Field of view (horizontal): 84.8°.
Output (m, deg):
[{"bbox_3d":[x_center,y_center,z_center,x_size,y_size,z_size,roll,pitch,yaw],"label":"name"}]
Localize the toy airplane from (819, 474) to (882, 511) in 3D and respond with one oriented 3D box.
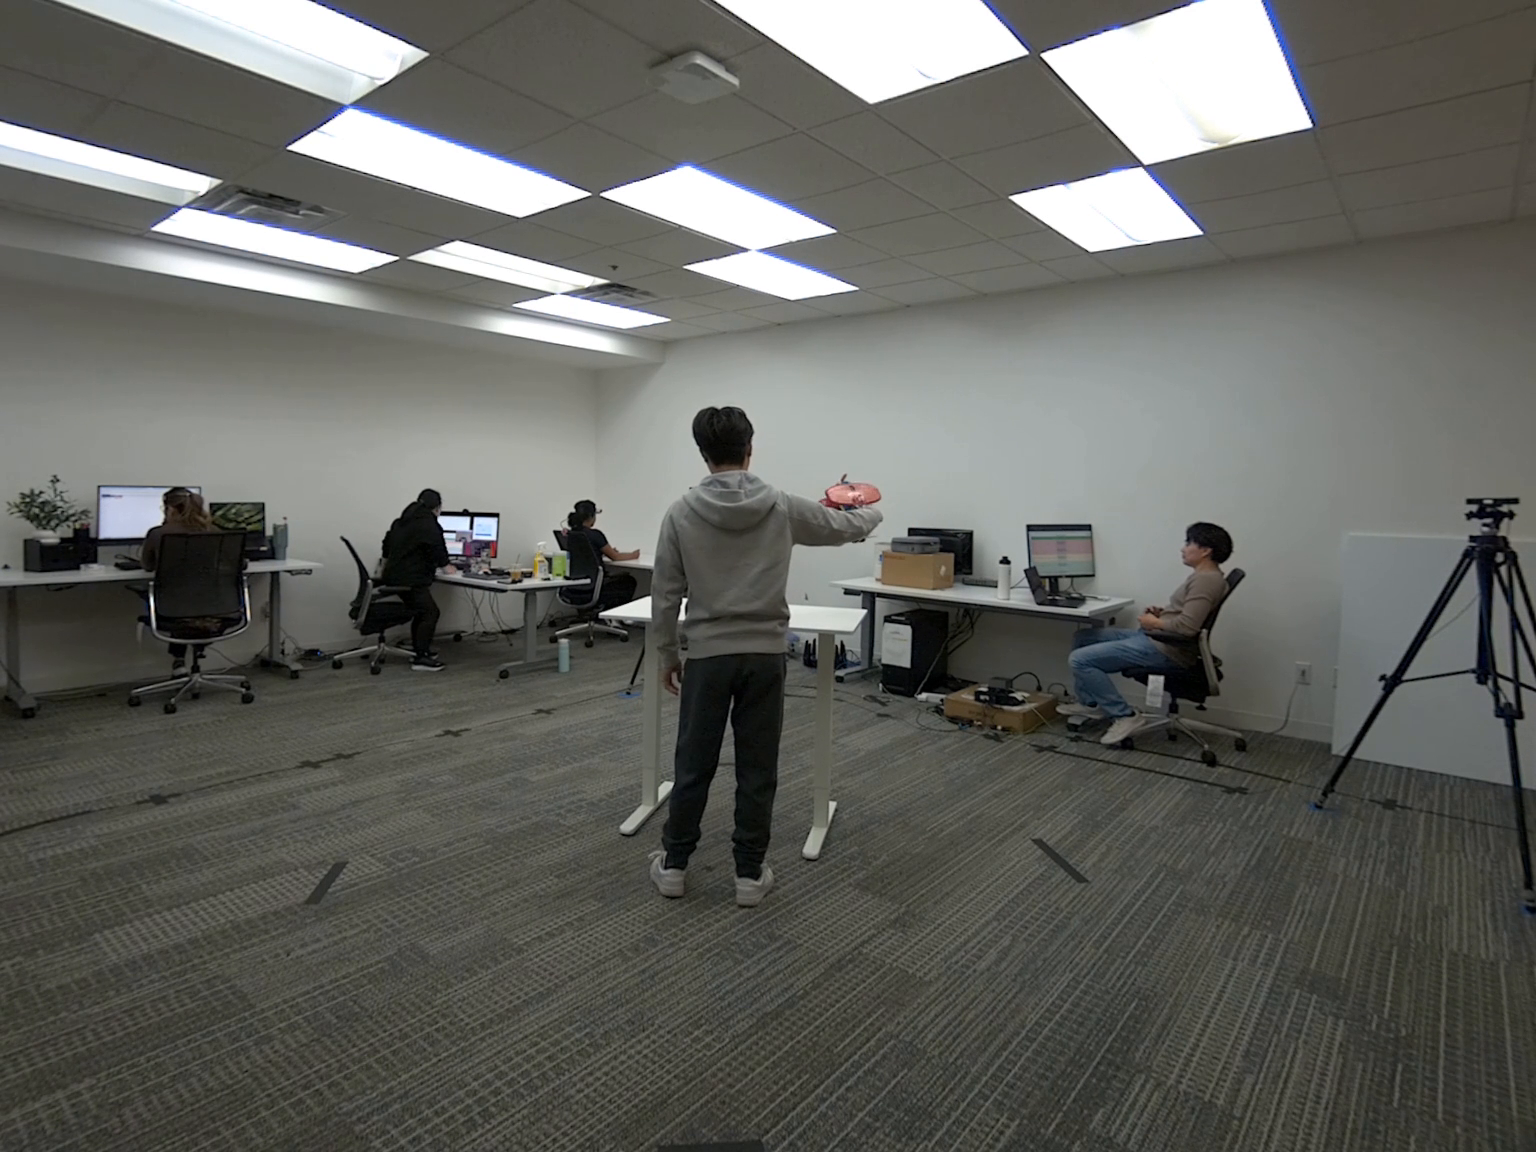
[{"bbox_3d":[0.331,-0.261,3.300,0.266,0.154,0.248,34,40,19],"label":"toy airplane"}]
